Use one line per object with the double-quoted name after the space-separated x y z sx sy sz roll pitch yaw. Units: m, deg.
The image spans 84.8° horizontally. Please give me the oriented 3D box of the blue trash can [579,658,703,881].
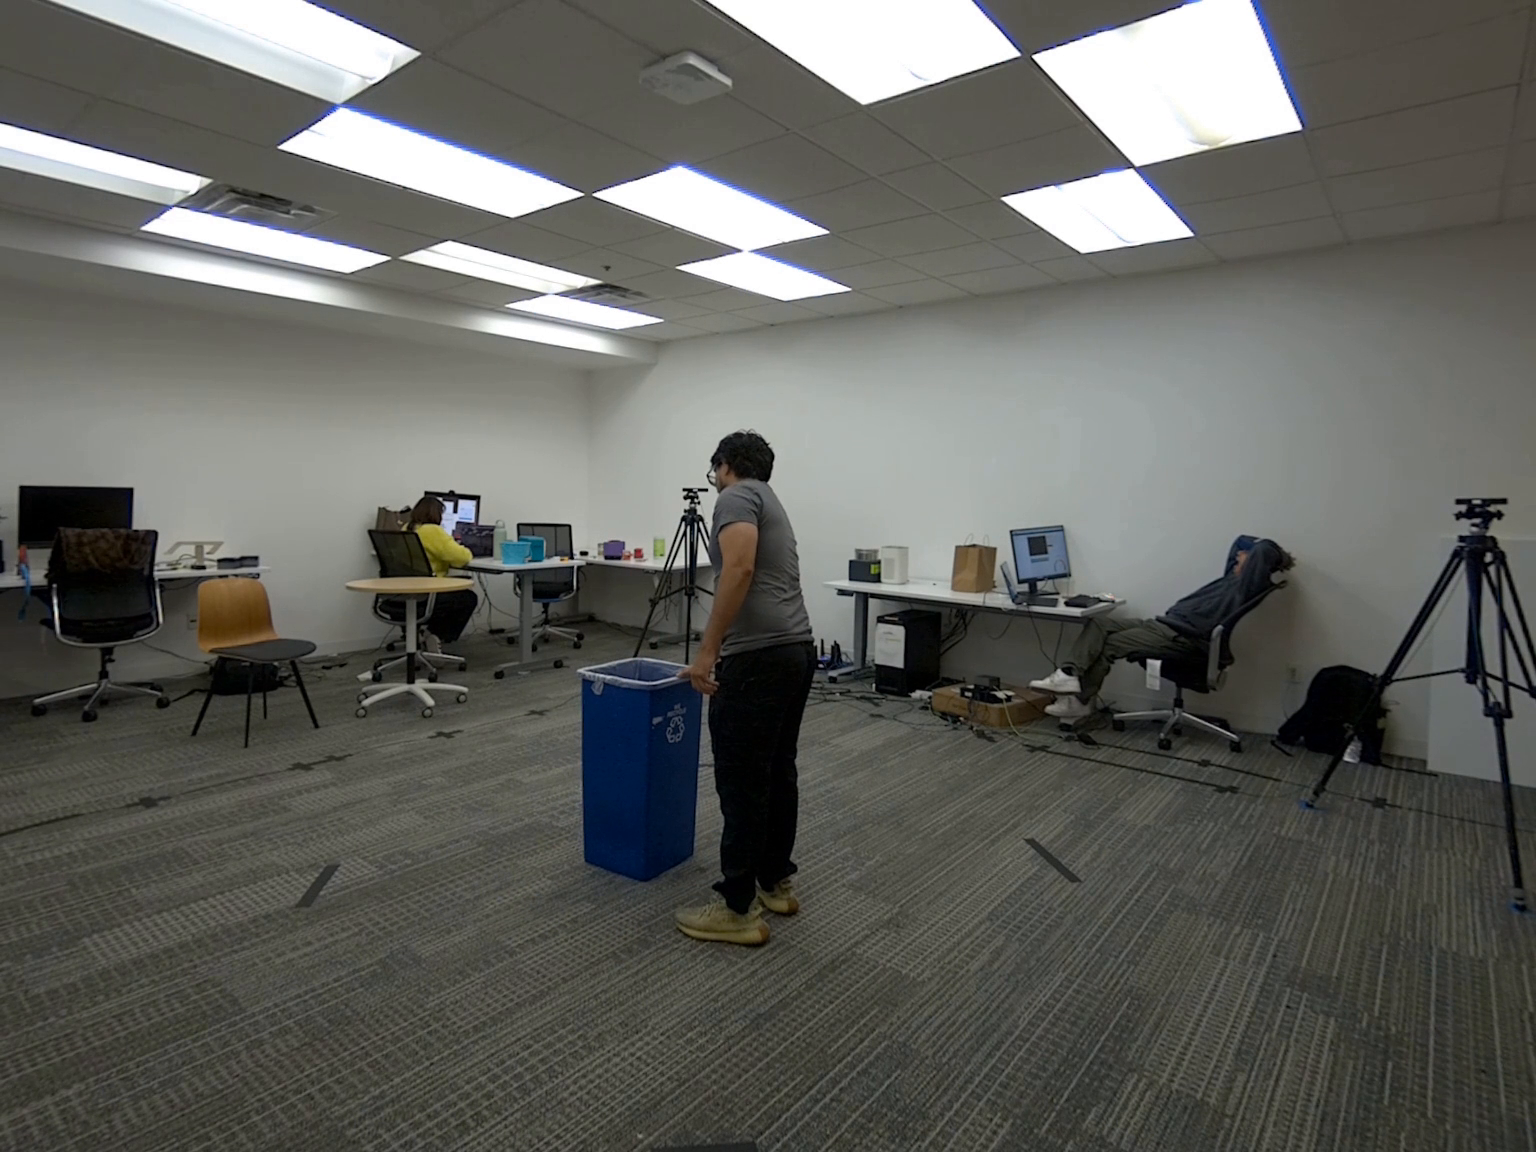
-0.483 0.698 3.191 0.390 0.712 0.364 3 4 33 "blue trash can"
